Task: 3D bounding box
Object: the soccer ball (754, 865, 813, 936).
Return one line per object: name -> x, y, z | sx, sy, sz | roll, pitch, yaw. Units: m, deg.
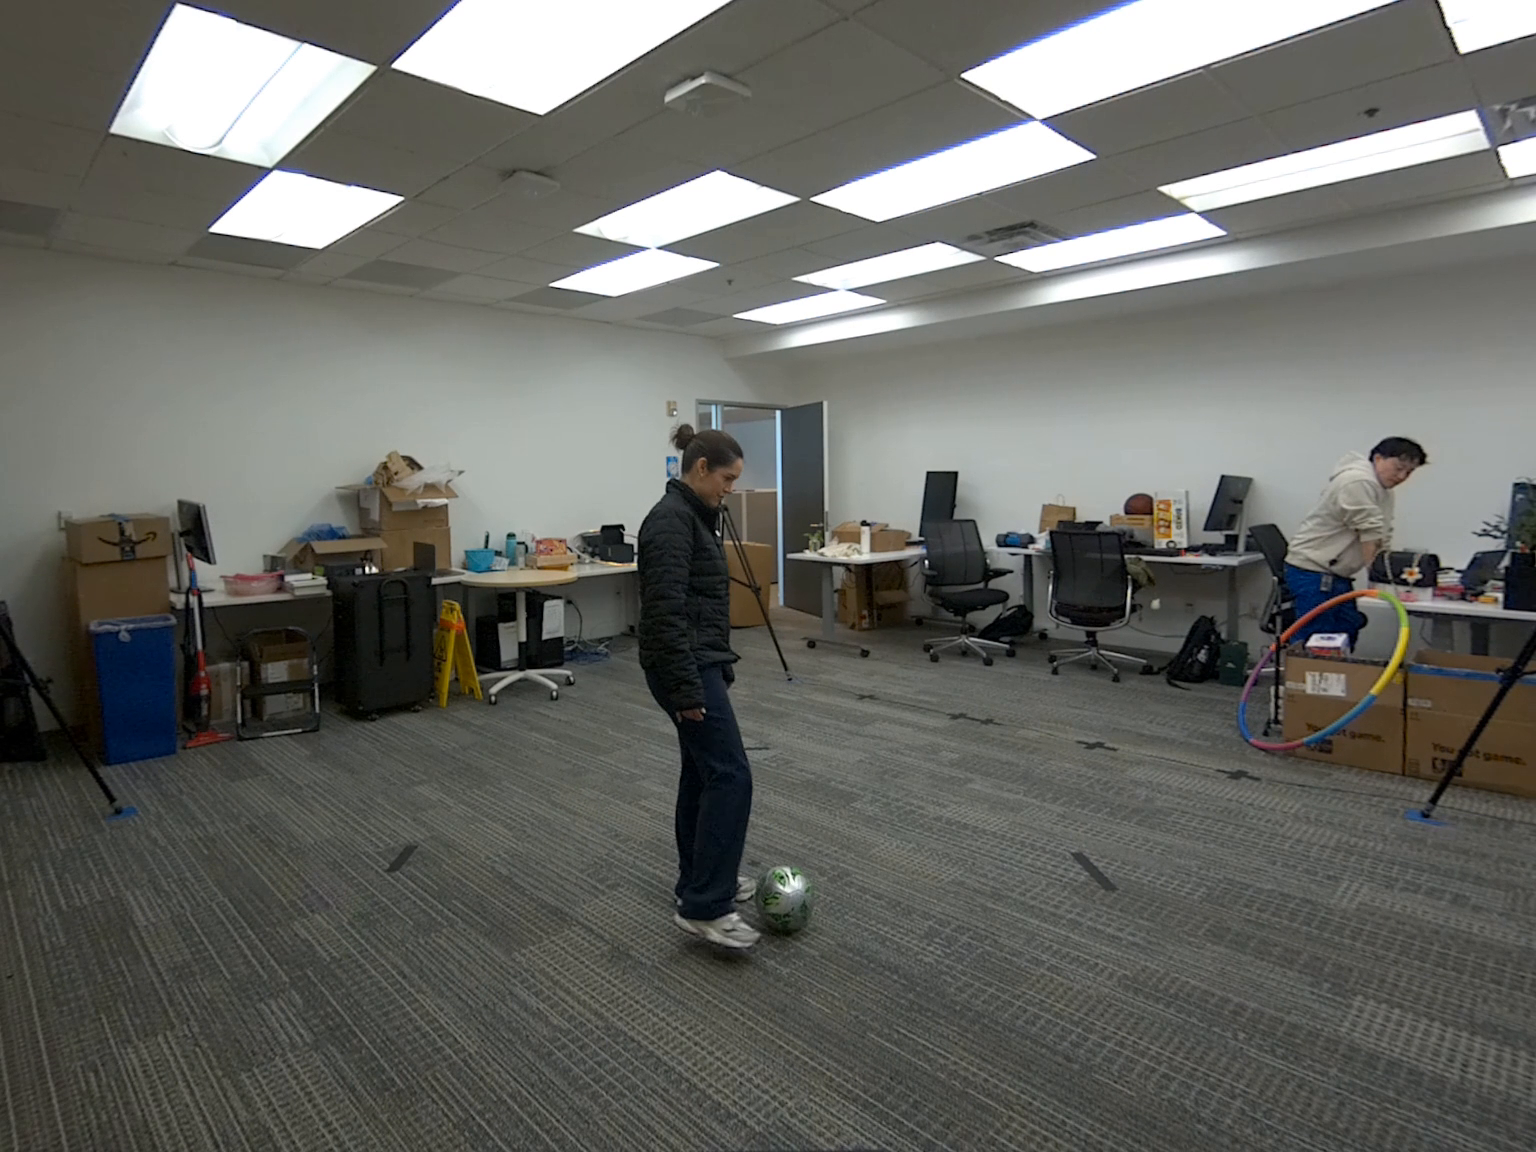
soccer ball -> 0.059, 1.003, 2.659 | 0.187, 0.187, 0.188 | -1, 5, -2
